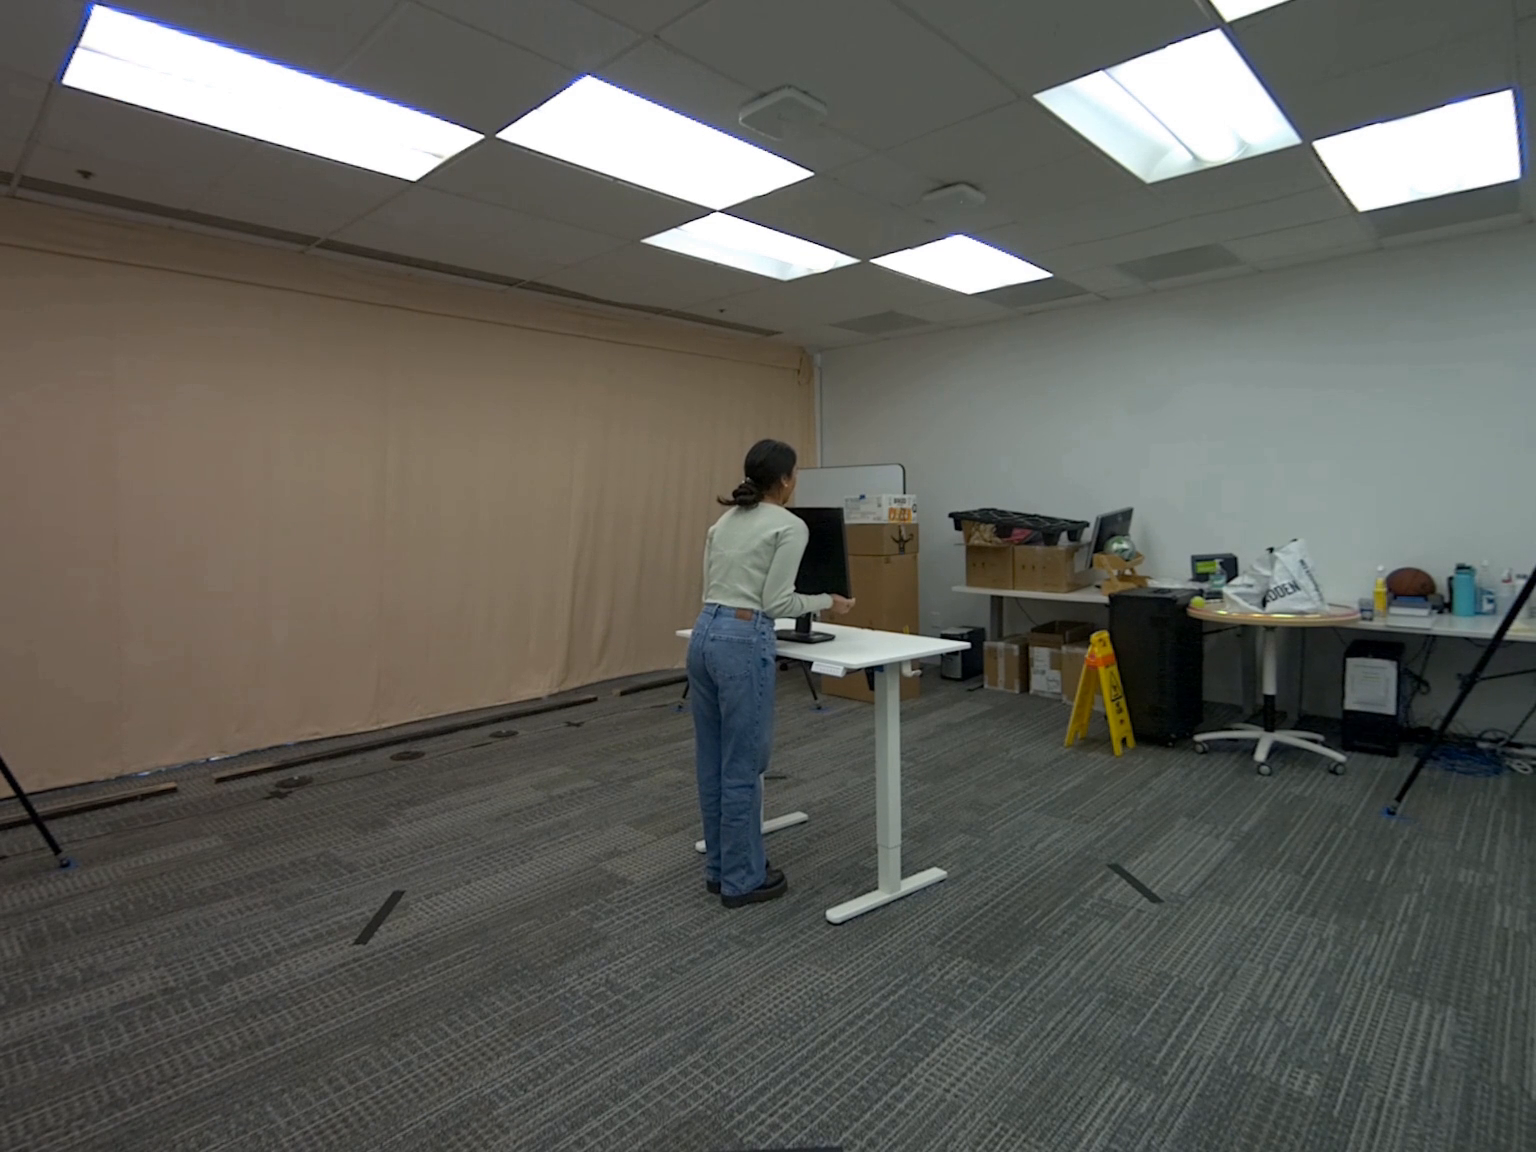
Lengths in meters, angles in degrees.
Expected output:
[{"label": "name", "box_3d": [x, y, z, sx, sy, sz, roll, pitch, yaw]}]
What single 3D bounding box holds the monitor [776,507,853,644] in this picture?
[{"label": "monitor", "box_3d": [0.106, -0.005, 3.176, 0.557, 0.518, 0.182, 3, 15, 45]}]
